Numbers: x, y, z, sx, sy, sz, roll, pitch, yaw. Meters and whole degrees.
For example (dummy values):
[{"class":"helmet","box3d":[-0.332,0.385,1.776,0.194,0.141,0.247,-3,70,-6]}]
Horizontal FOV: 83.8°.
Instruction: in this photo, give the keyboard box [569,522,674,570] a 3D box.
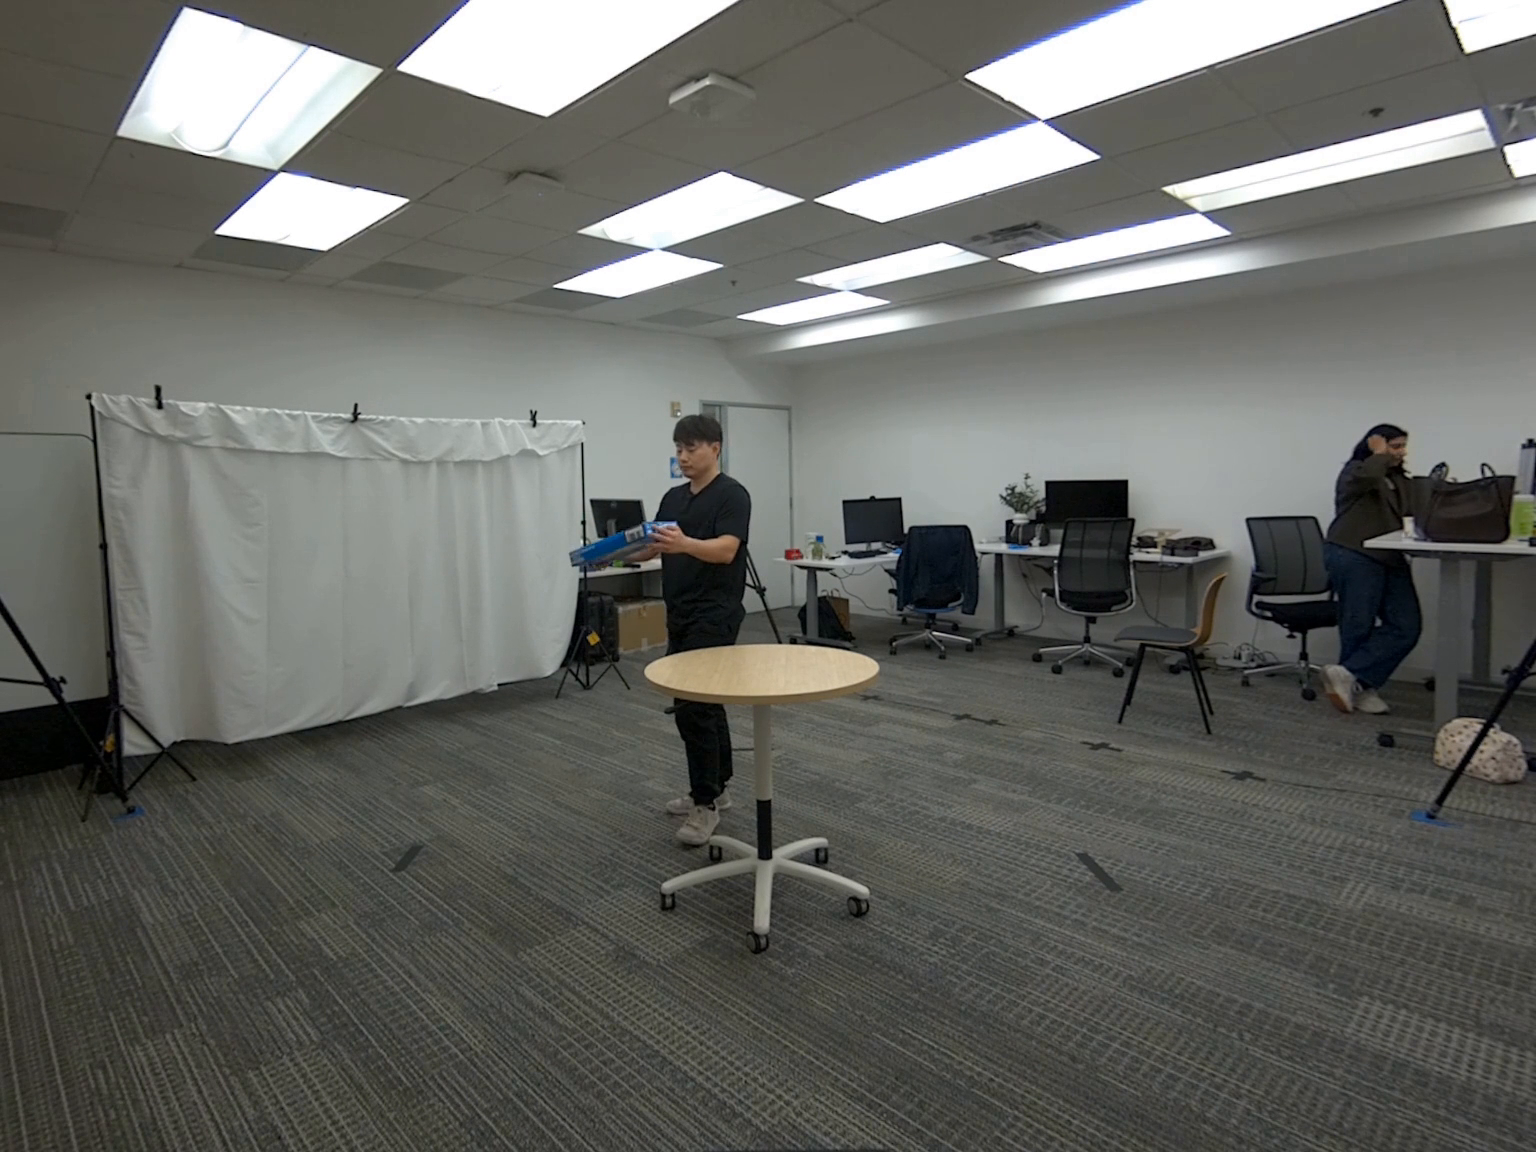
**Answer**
[{"class":"keyboard box","box3d":[-0.553,-0.116,3.238,0.445,0.059,0.171,-18,-8,40]}]
